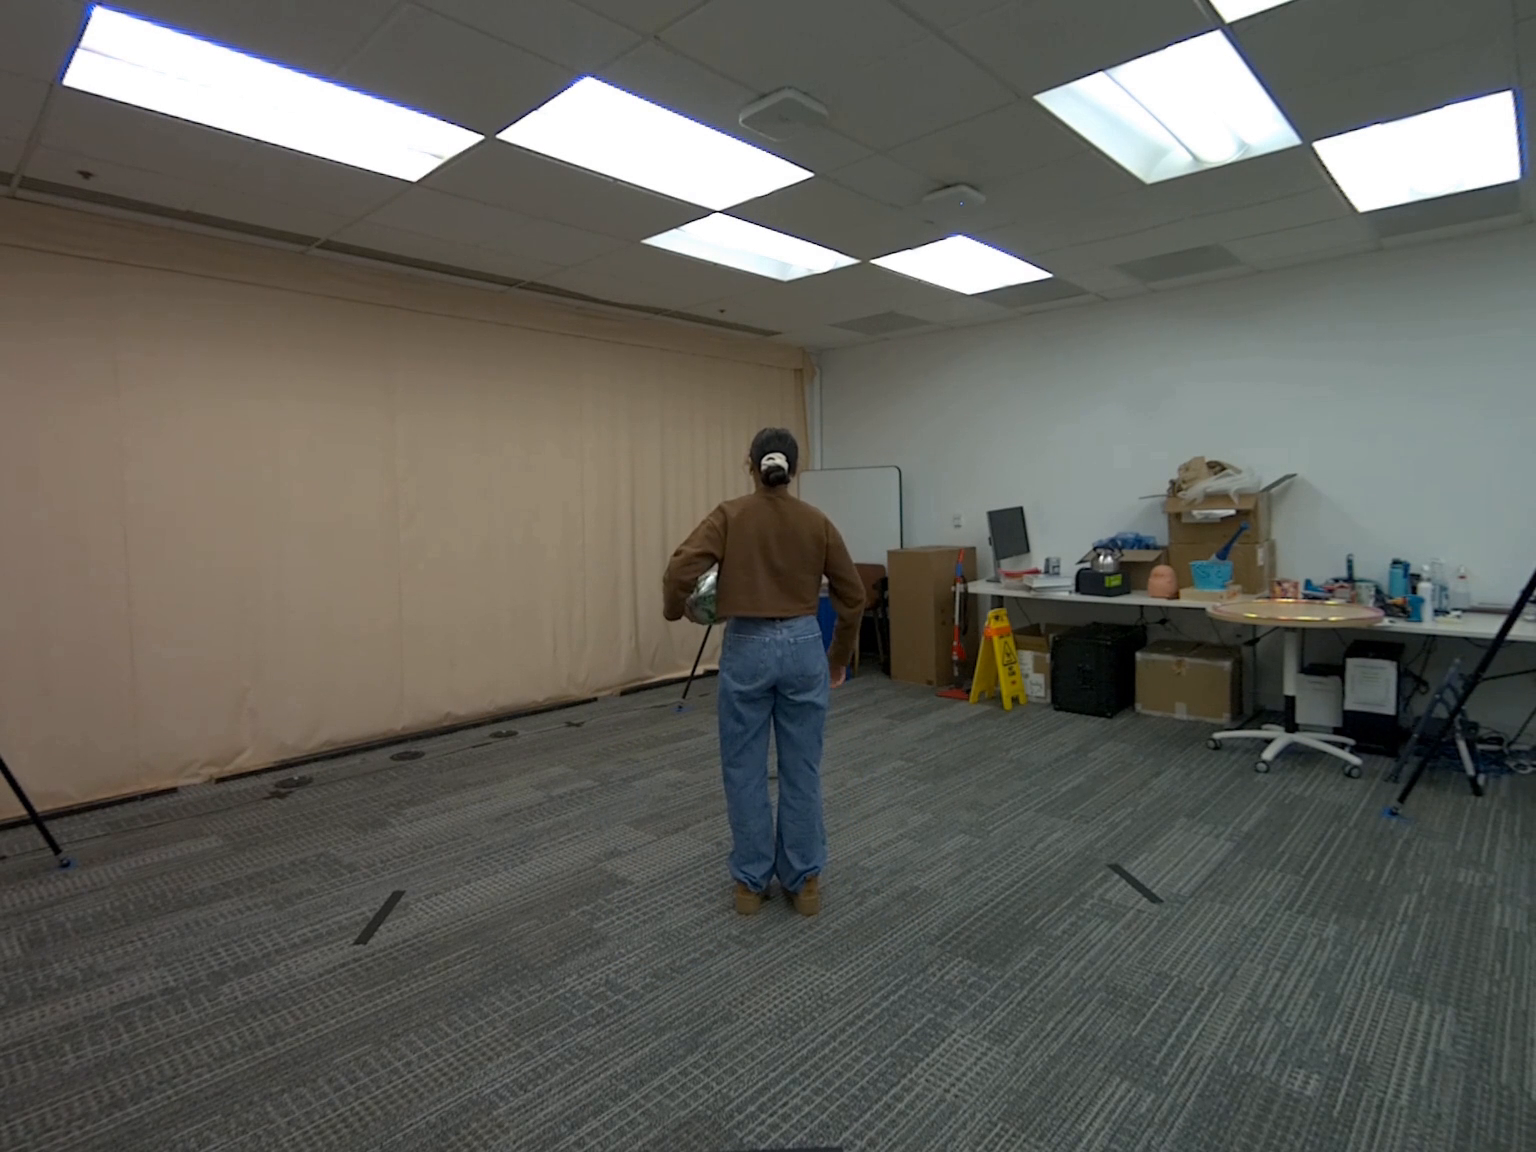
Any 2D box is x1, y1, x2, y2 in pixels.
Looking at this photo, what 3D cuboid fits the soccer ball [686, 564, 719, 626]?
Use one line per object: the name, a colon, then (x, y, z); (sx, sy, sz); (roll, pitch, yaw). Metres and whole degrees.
soccer ball: (-0.195, 0.078, 3.005); (0.187, 0.187, 0.188); (-1, 4, -2)
